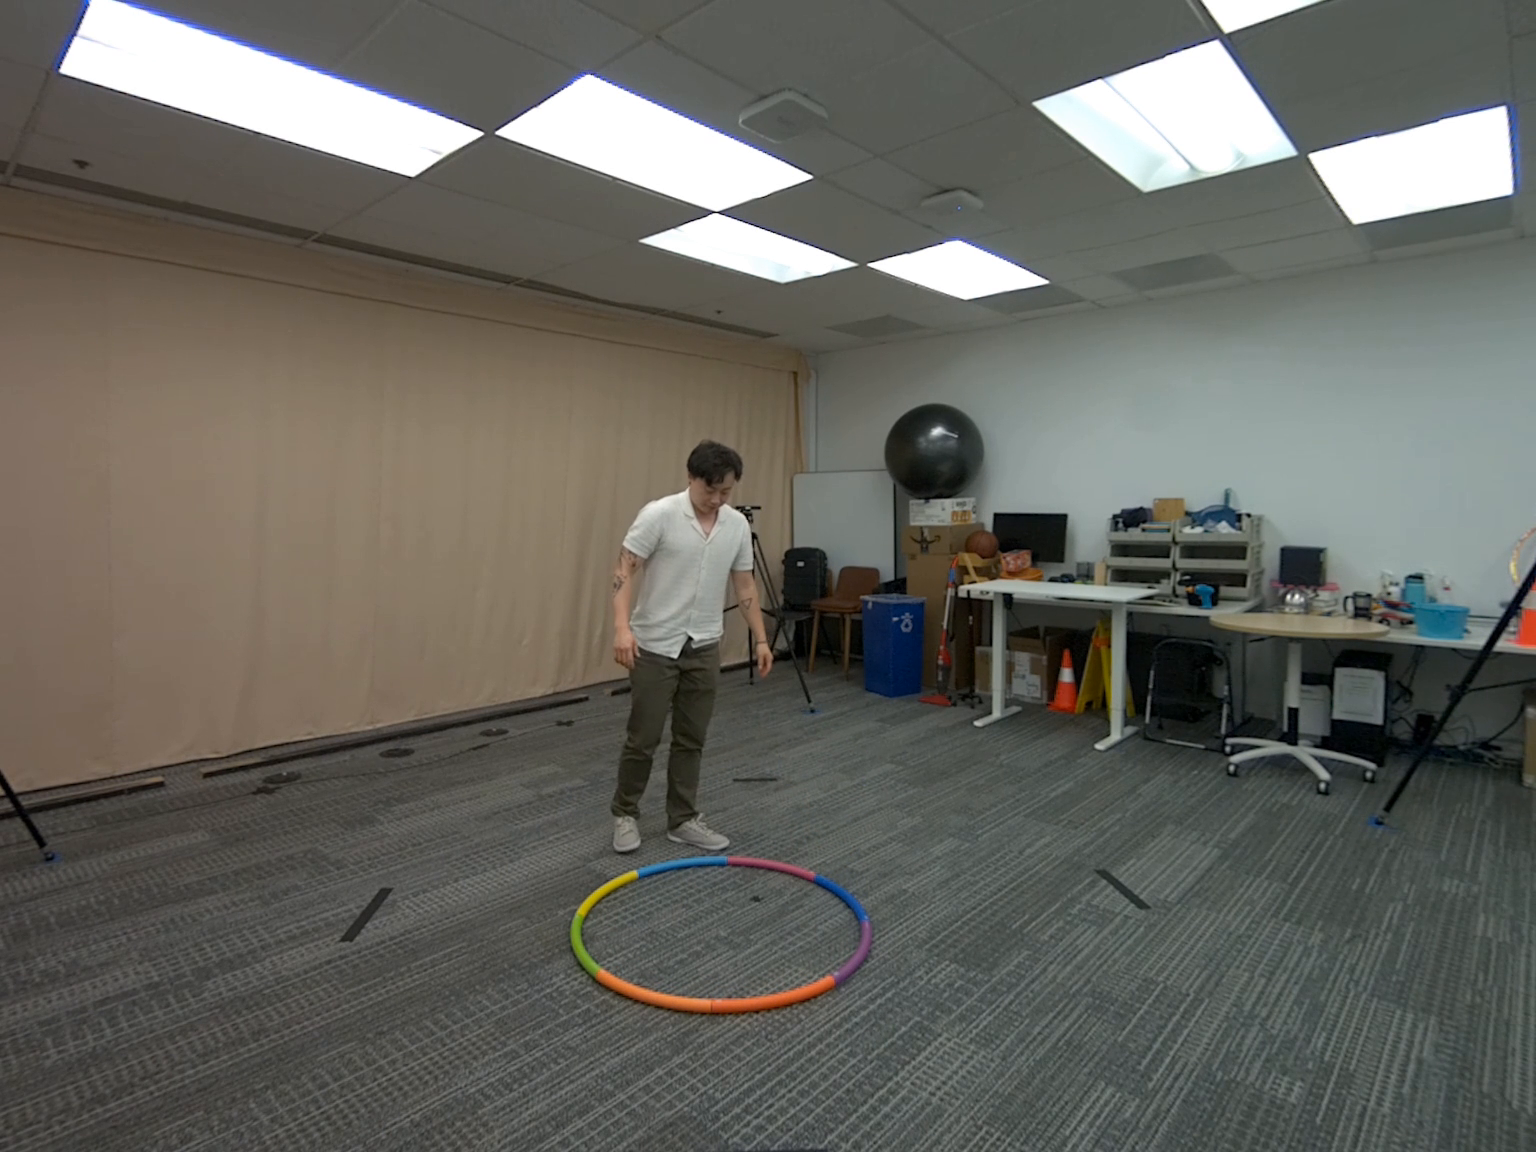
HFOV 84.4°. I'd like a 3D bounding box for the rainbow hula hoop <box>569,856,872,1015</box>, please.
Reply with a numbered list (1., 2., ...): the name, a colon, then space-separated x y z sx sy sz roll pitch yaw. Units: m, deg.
1. rainbow hula hoop: -0.150 1.133 2.789 0.978 0.035 0.982 0 5 -2
